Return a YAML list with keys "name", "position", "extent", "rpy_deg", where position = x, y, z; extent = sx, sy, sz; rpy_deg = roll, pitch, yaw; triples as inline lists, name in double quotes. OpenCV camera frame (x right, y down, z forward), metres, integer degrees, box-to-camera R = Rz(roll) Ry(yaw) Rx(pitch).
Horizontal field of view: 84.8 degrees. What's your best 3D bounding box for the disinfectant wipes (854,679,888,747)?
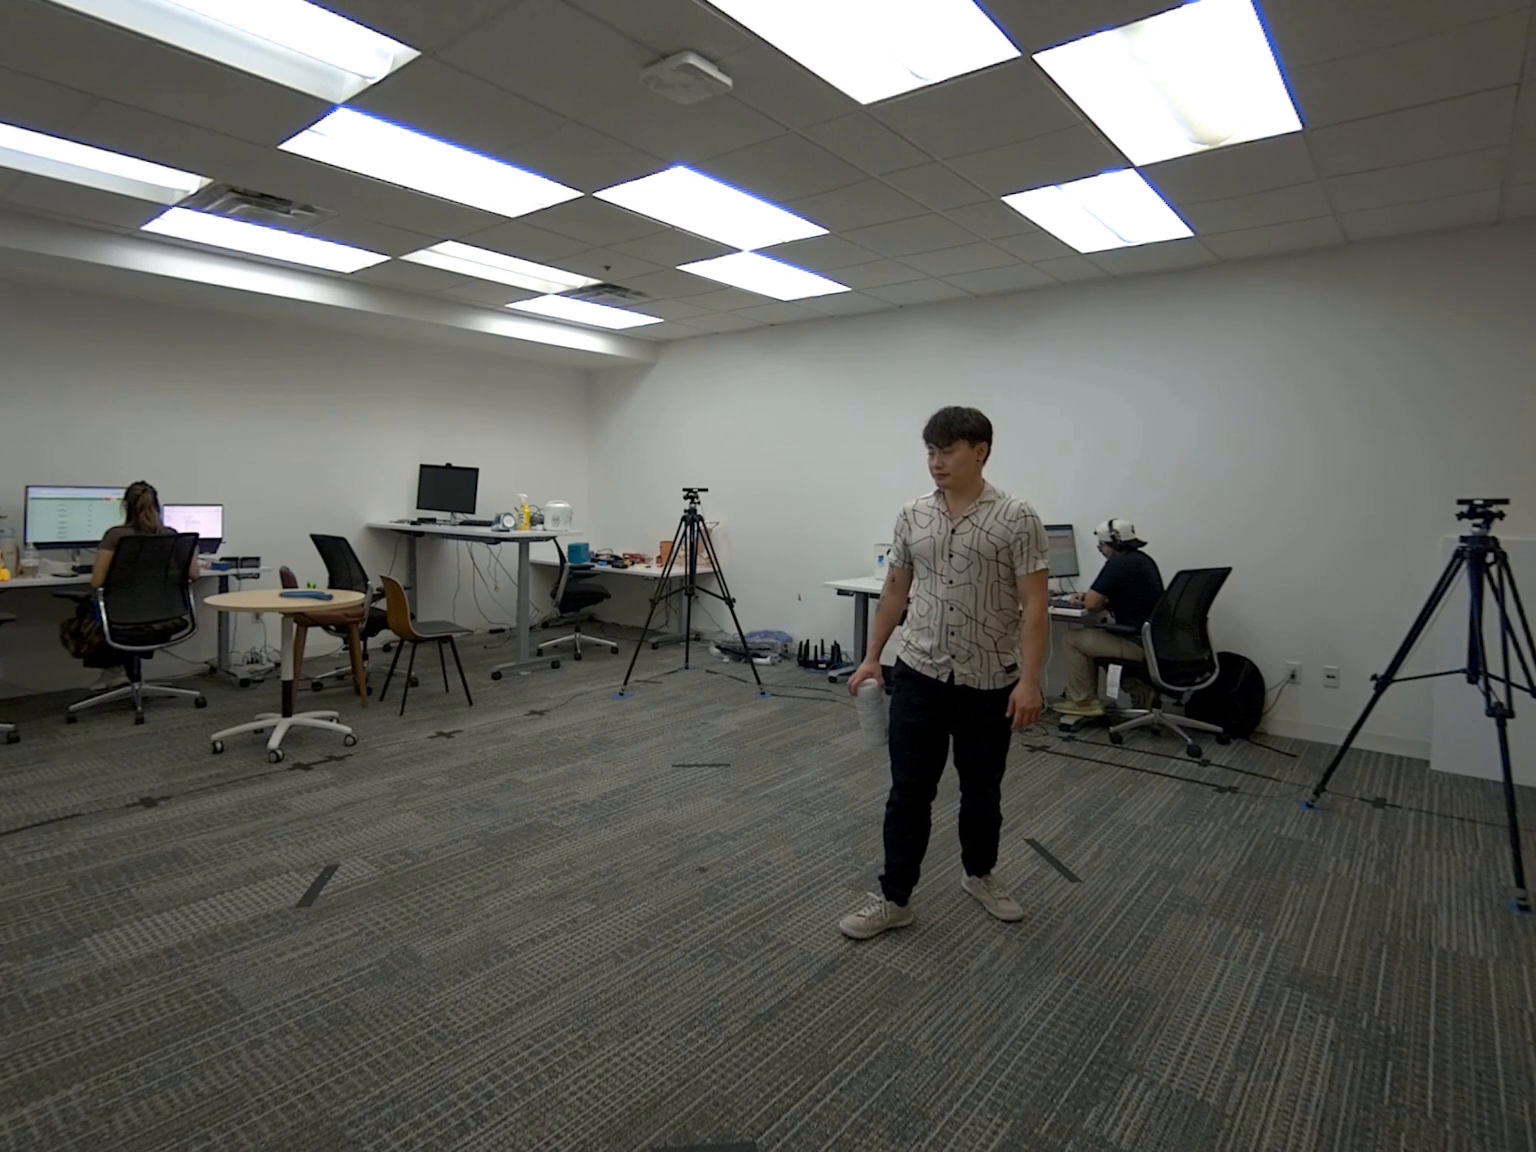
- name: "disinfectant wipes"
  position: [0.362, 0.472, 2.946]
  extent: [0.118, 0.216, 0.118]
  rpy_deg: [-11, 7, 0]
